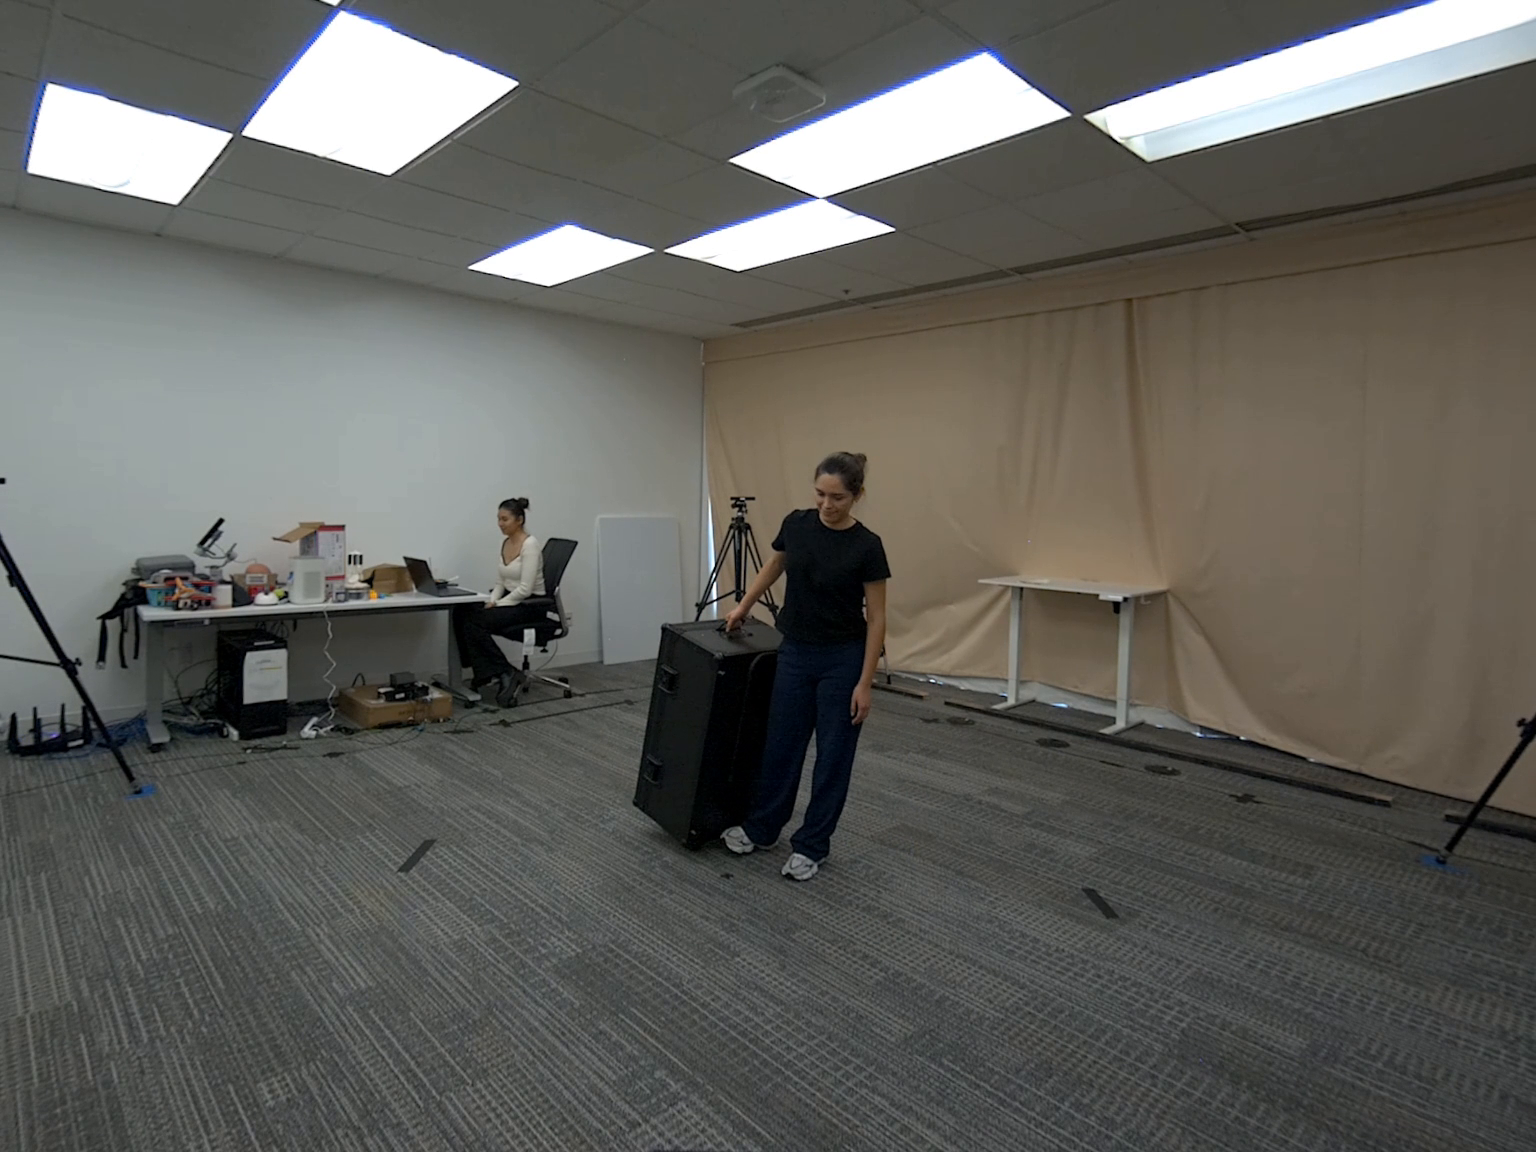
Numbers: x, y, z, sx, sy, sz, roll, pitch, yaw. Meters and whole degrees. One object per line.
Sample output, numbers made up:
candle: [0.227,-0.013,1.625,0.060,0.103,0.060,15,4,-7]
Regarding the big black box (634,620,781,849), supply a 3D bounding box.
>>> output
big black box: [-0.193,0.643,3.399,0.509,0.855,0.408,-2,18,-44]
